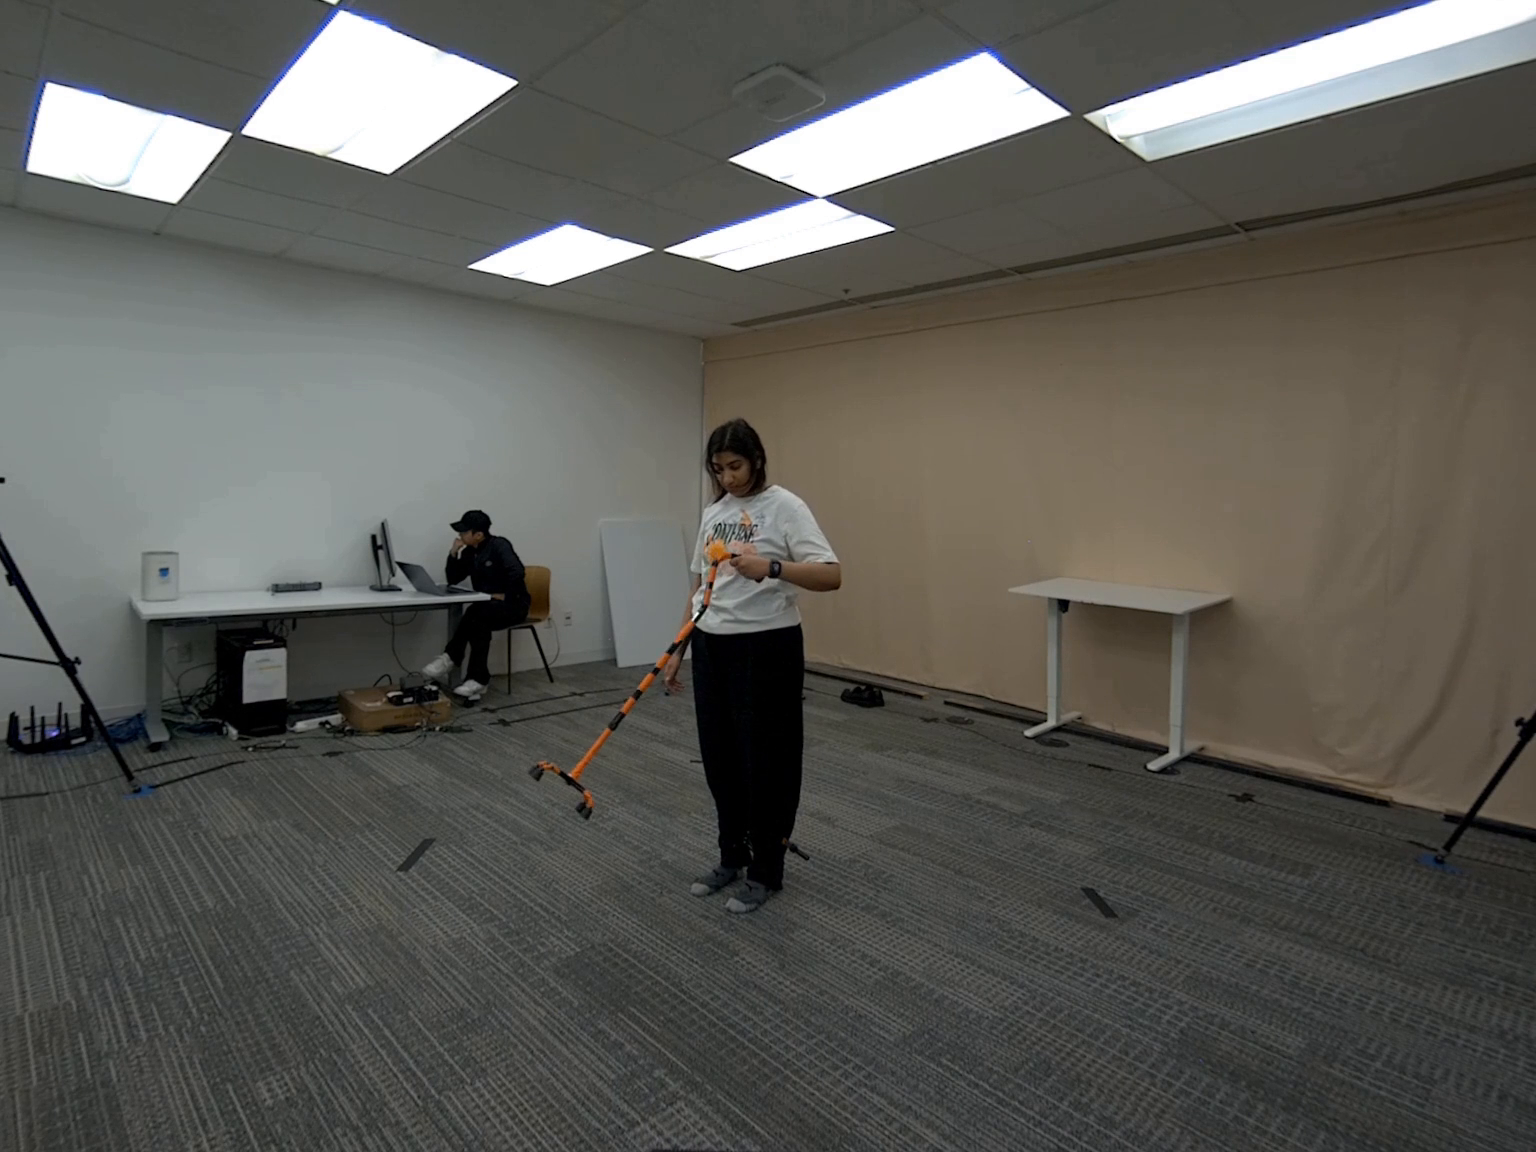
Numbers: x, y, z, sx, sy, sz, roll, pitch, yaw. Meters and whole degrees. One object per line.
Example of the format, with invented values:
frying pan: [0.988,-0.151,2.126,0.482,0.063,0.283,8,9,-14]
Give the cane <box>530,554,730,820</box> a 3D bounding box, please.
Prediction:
cane: [-0.345,0.302,2.551,0.203,0.910,0.153,40,-20,-15]
